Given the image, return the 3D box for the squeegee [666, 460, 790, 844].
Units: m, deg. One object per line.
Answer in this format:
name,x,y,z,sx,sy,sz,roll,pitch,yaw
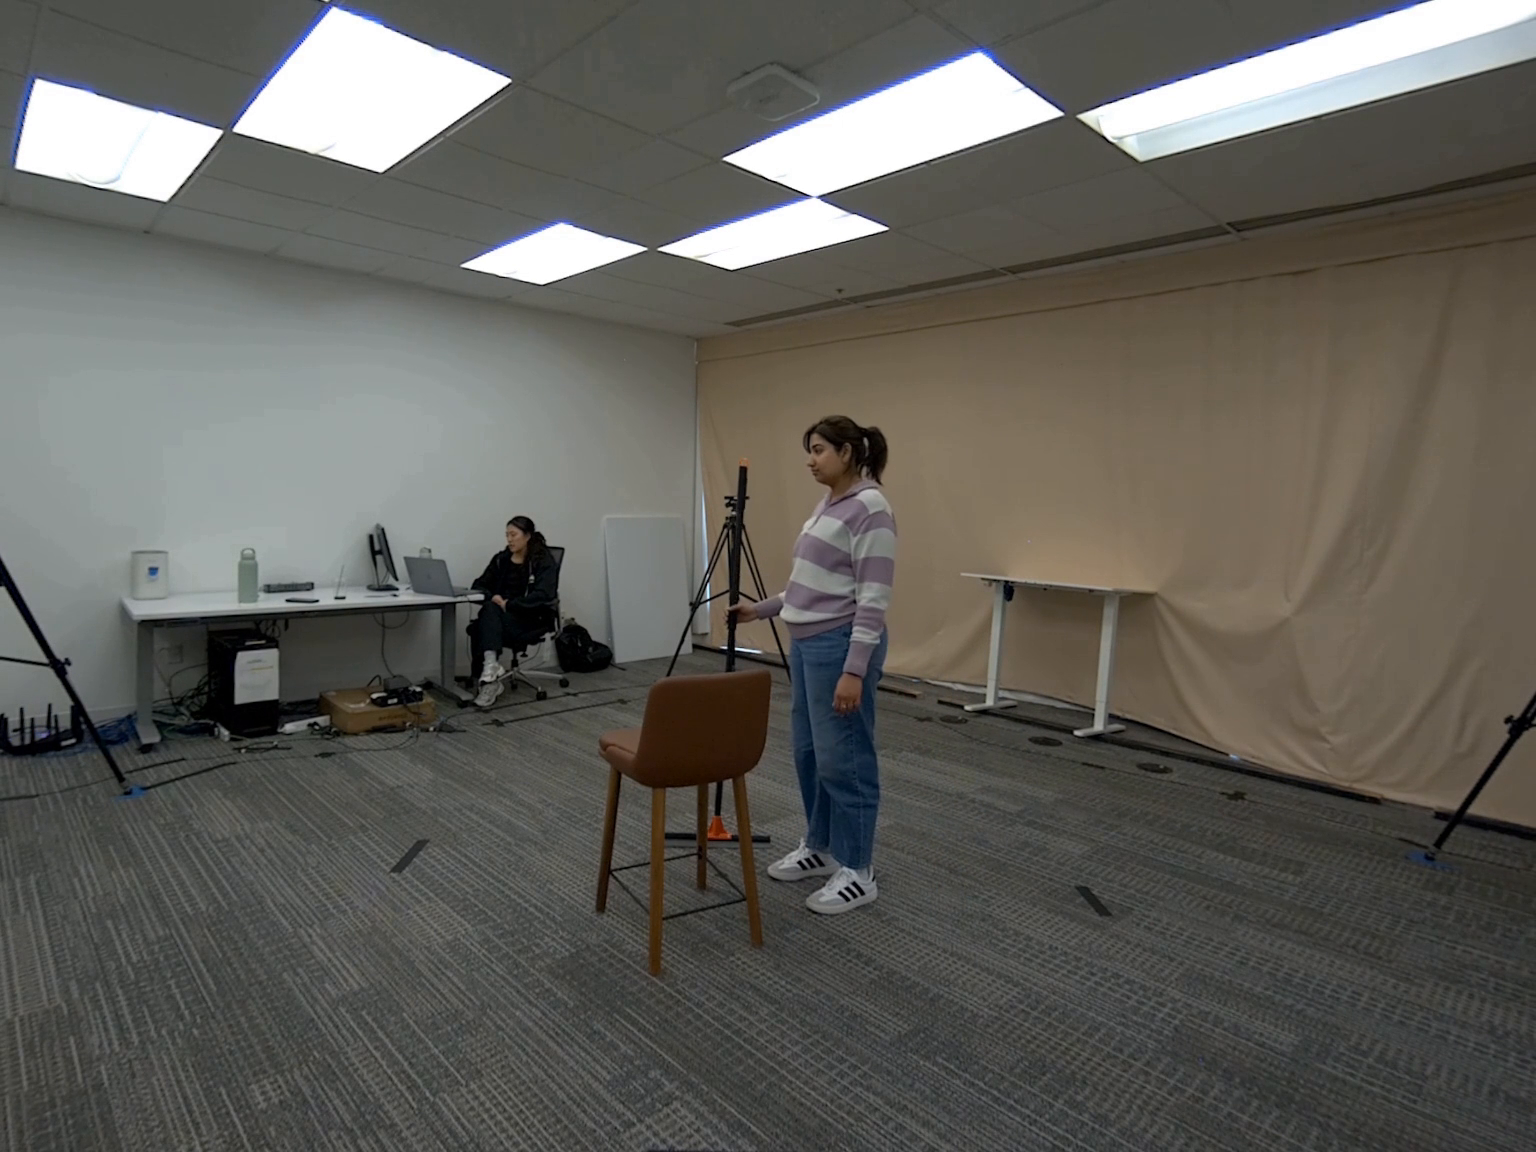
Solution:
squeegee,-0.173,0.321,3.245,0.437,1.529,0.053,3,7,-2
